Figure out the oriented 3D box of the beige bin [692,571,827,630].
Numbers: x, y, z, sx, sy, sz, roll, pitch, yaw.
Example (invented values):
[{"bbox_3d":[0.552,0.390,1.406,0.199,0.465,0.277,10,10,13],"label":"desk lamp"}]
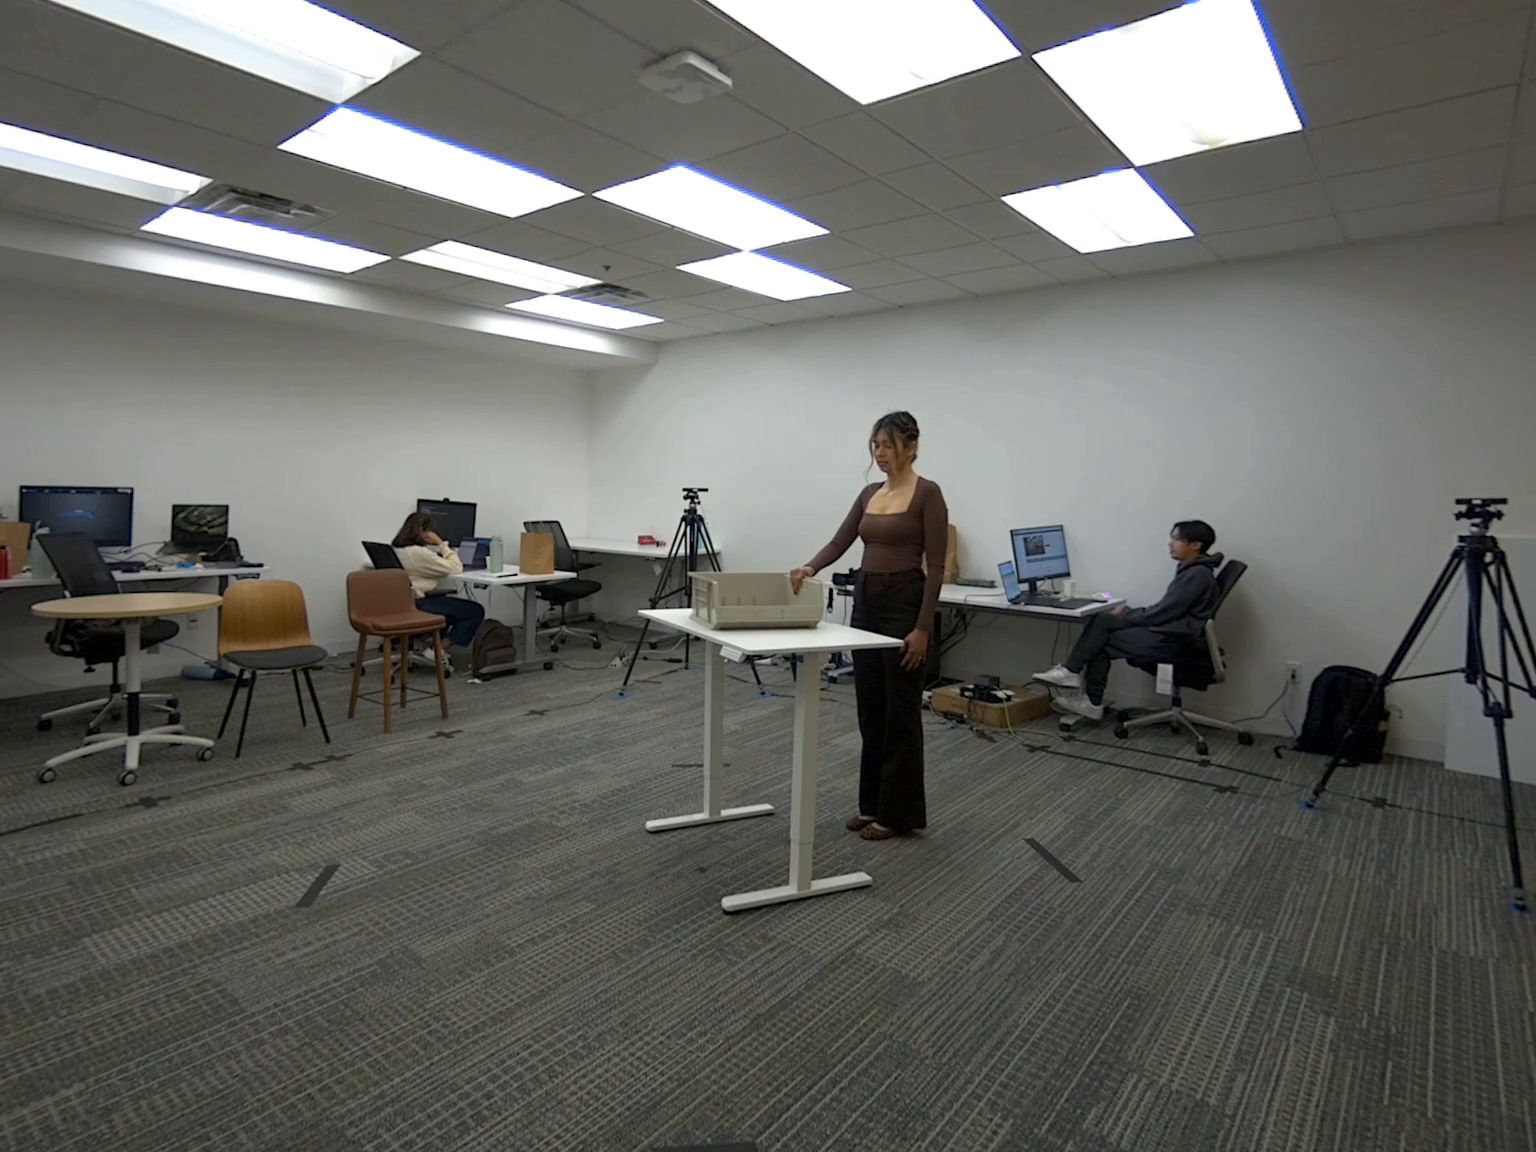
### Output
[{"bbox_3d":[-0.062,0.090,3.211,0.414,0.188,0.386,-1,4,-20],"label":"beige bin"}]
